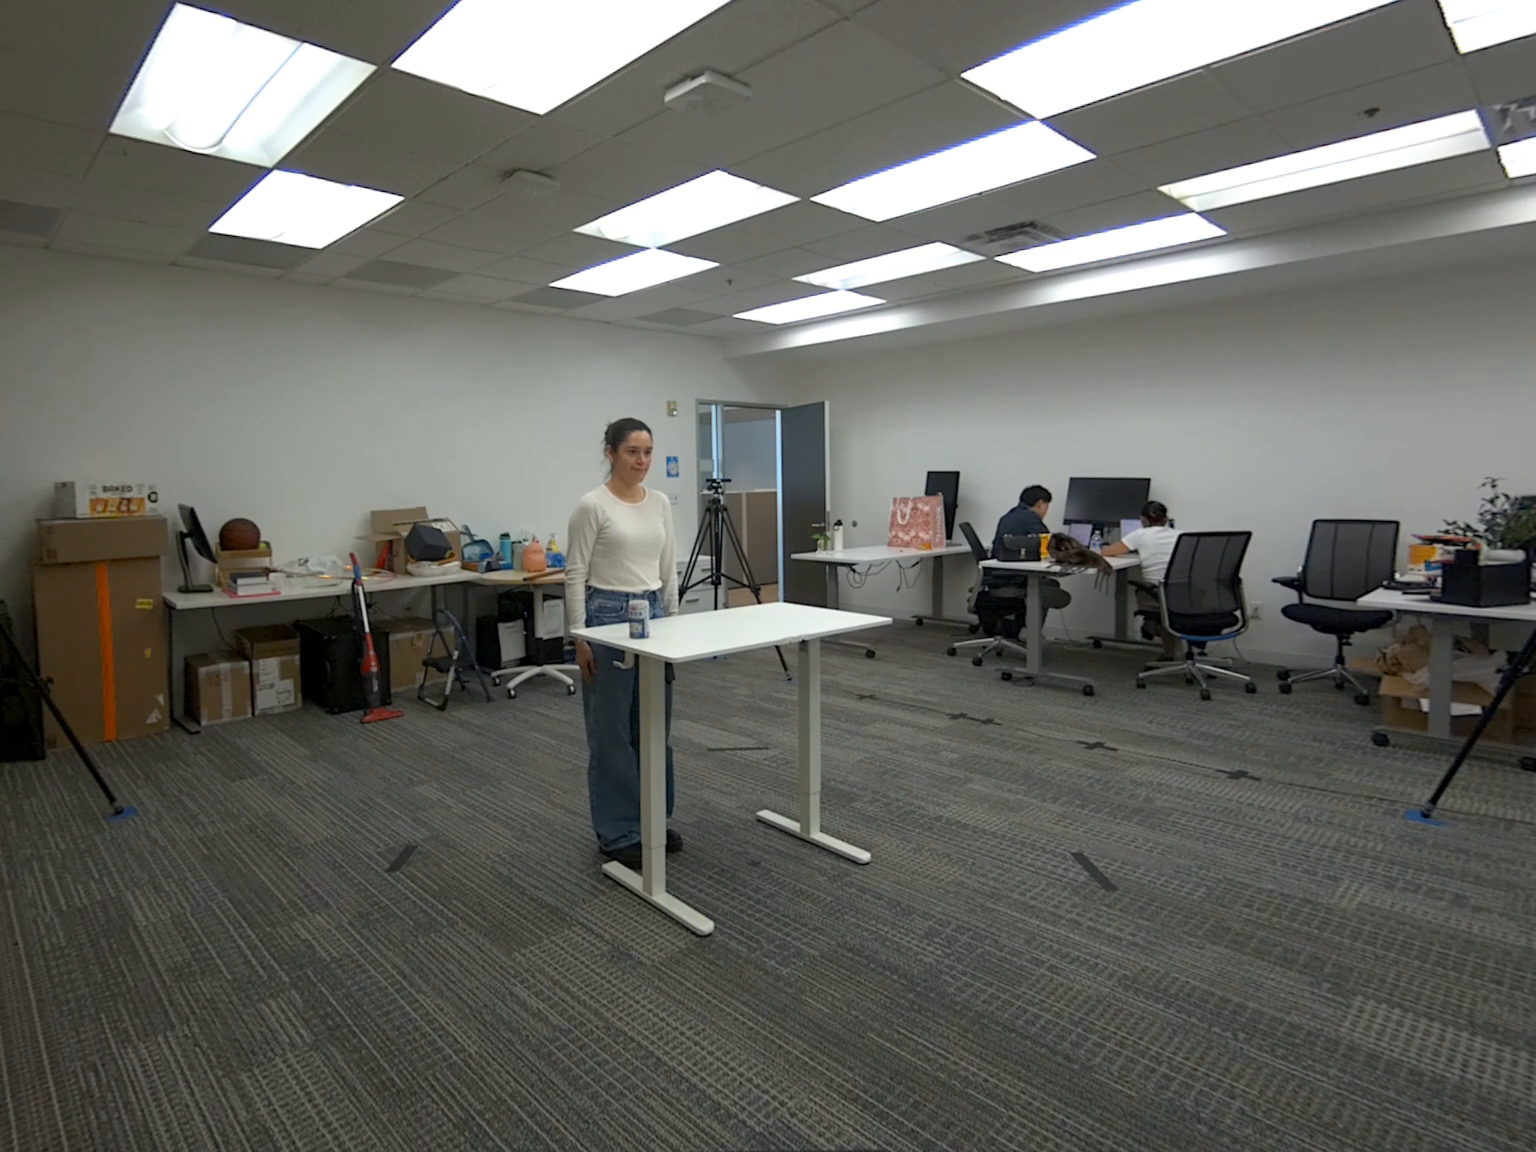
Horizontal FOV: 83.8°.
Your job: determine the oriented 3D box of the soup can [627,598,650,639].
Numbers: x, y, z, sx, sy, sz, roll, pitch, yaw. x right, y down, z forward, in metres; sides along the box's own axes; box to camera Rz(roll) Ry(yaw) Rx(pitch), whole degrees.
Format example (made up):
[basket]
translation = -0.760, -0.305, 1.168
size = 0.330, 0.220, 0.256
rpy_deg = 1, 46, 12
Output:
[soup can]
translation = -0.452, 0.153, 2.823
size = 0.067, 0.066, 0.124
rpy_deg = -2, 15, -7
